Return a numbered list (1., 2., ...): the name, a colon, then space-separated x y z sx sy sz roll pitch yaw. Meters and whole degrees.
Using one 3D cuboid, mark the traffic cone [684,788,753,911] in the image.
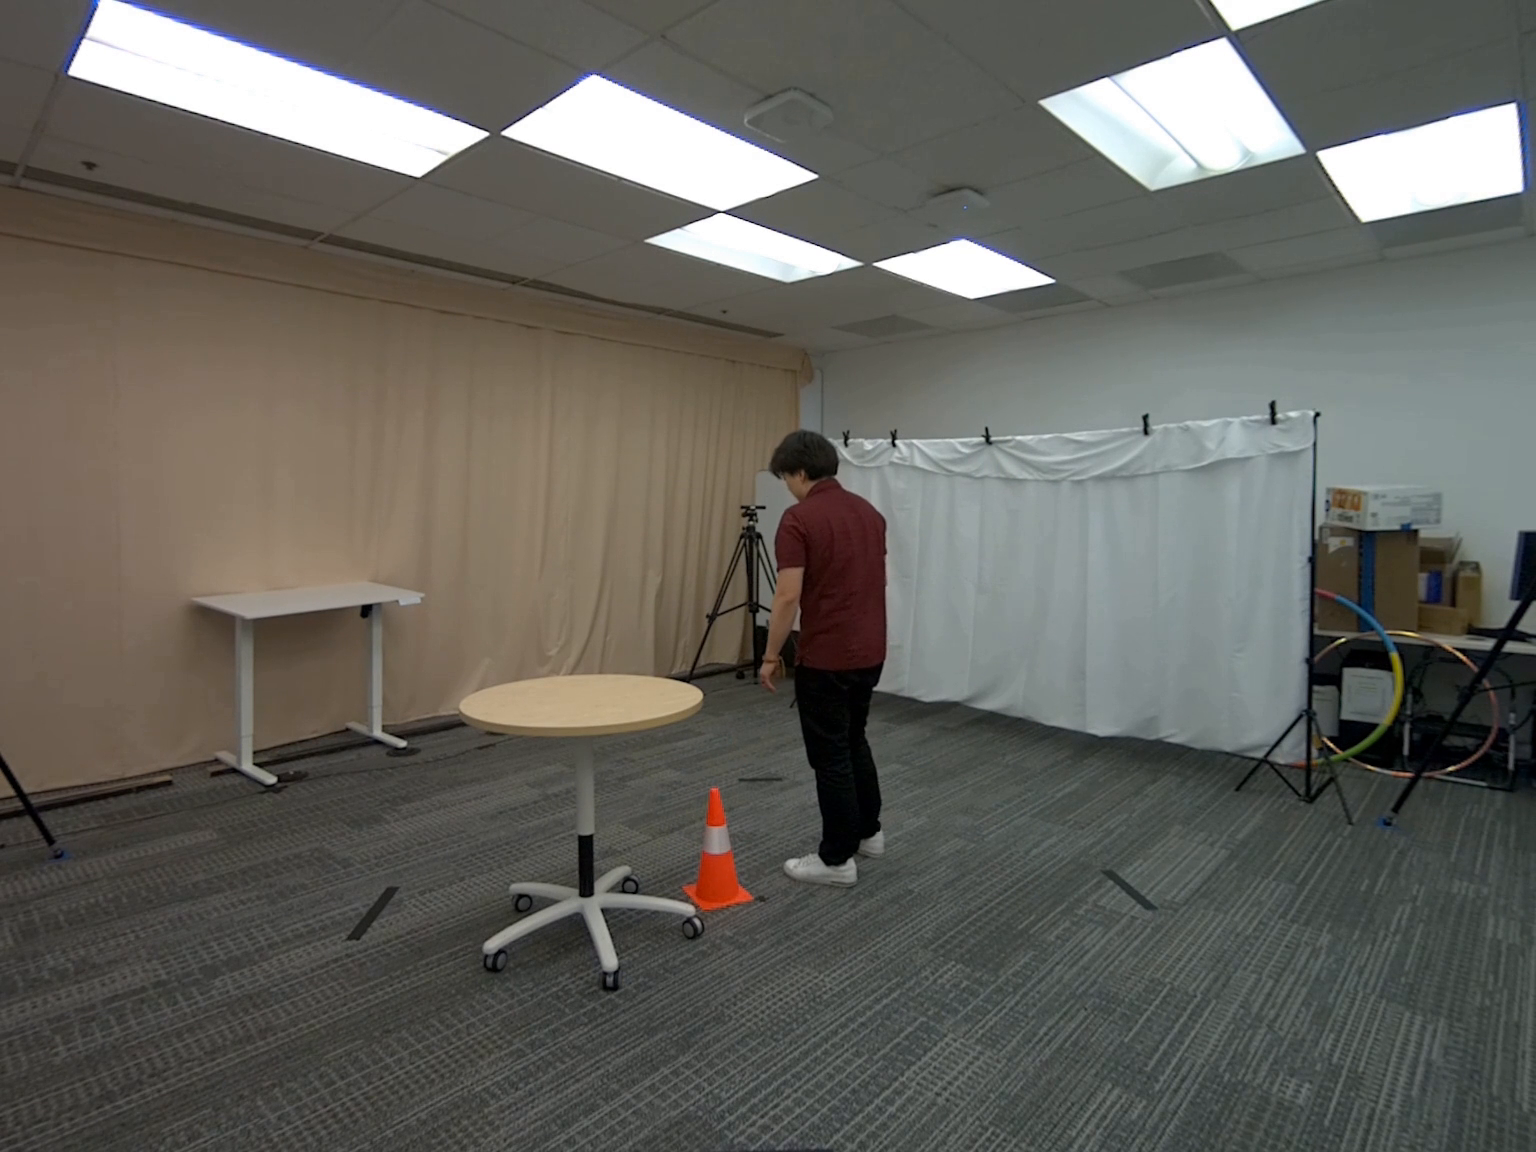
1. traffic cone: -0.184 0.961 3.020 0.198 0.383 0.210 -3 3 -25
